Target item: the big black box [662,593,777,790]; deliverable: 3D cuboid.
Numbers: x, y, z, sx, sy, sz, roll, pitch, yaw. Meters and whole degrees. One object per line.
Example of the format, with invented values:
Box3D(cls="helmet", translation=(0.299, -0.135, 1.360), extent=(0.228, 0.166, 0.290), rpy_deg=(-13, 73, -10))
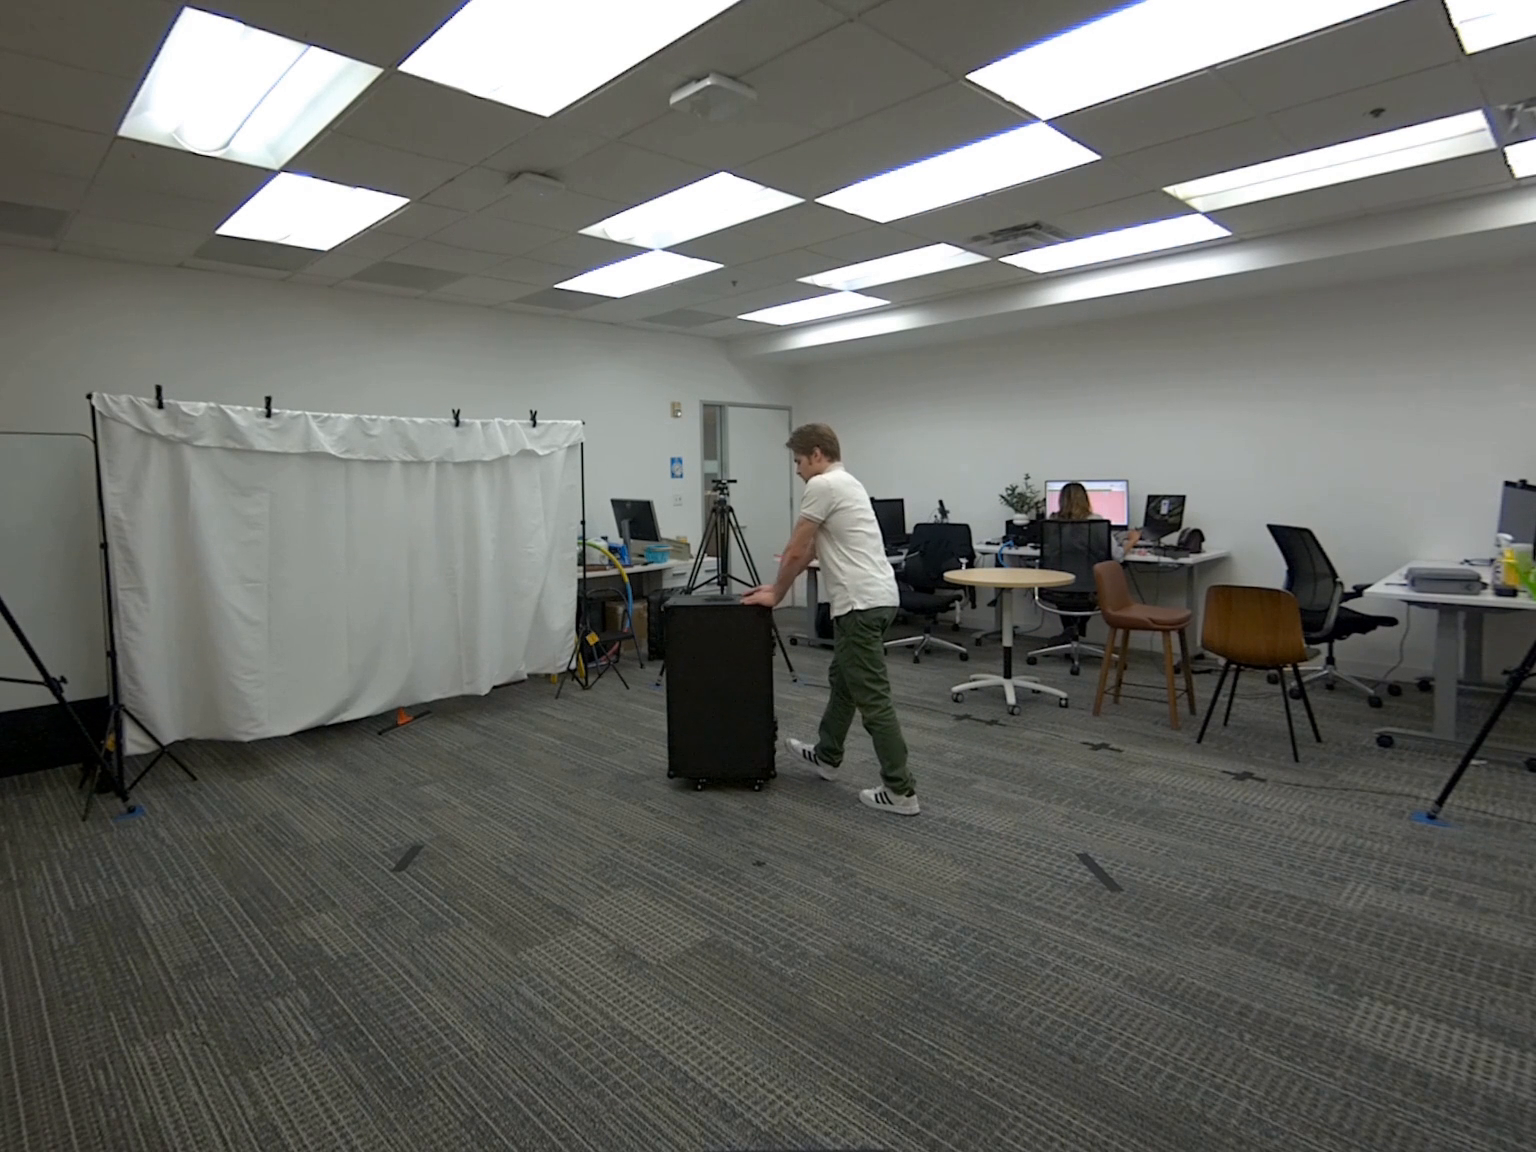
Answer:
Box3D(cls="big black box", translation=(-0.218, 0.533, 3.975), extent=(0.525, 0.865, 0.385), rpy_deg=(-1, 4, 2))
